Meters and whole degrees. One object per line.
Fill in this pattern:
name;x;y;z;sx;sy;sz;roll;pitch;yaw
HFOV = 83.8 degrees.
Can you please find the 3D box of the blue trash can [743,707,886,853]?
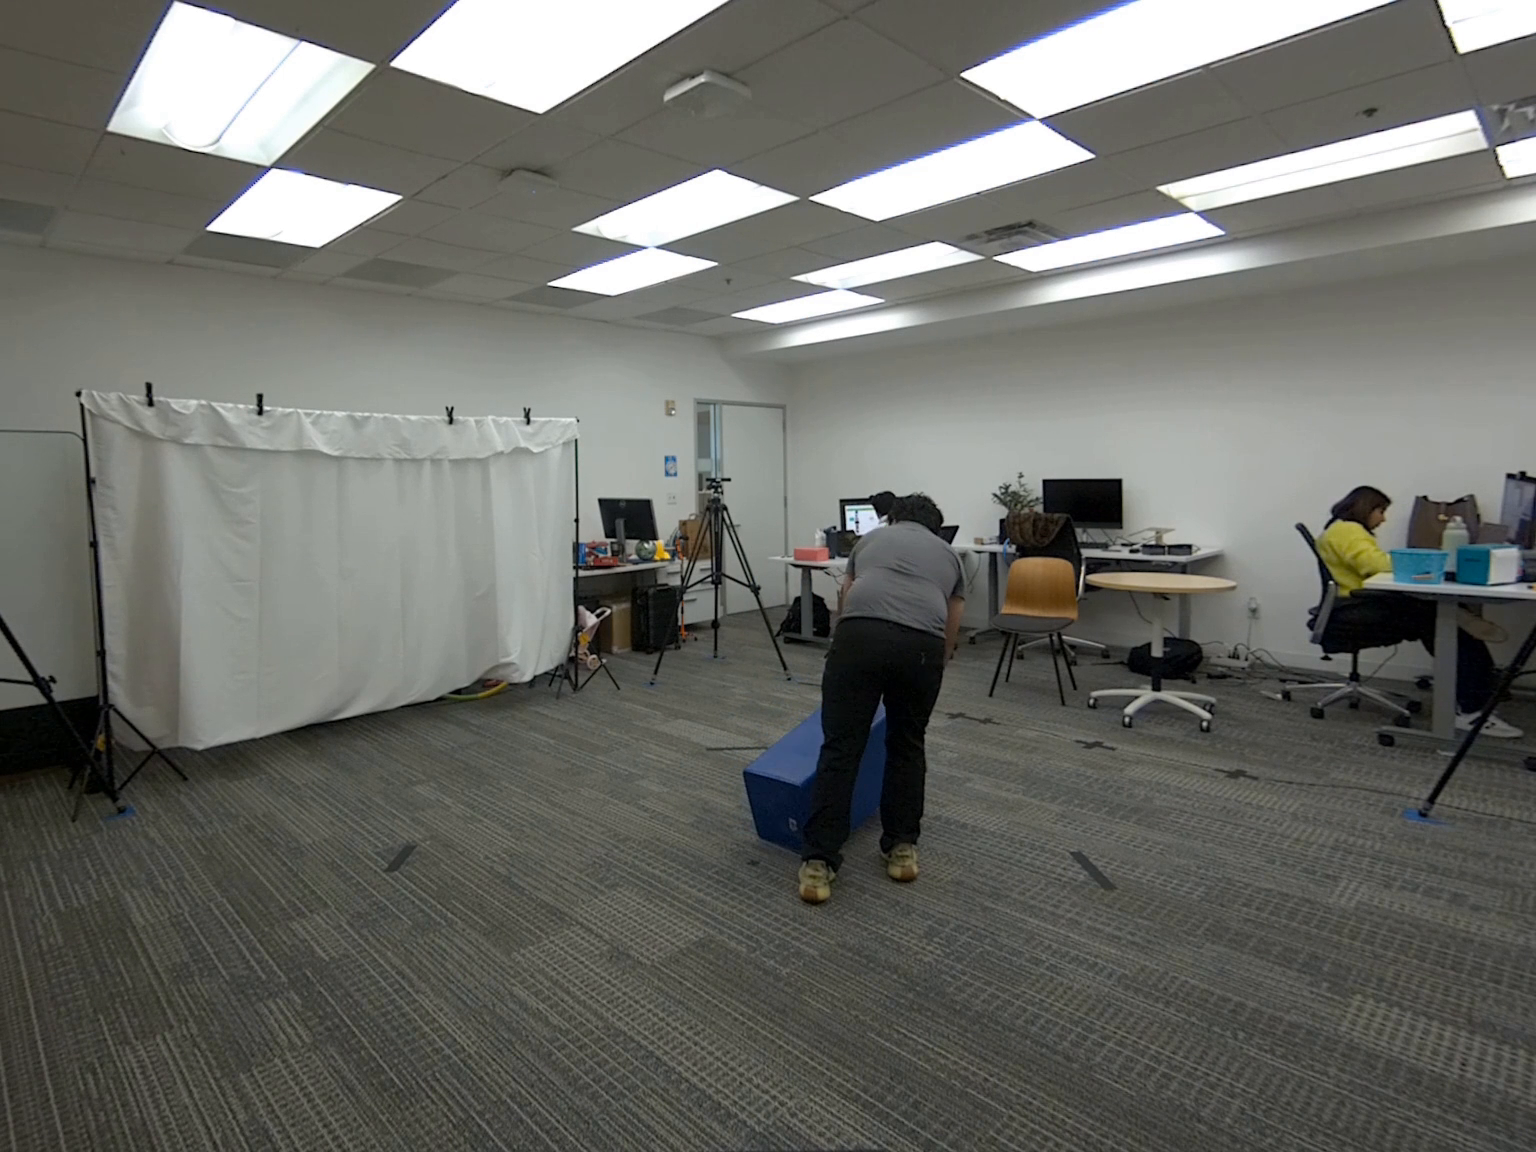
blue trash can;0.252;0.777;3.413;0.388;0.369;0.703;-1;16;37
